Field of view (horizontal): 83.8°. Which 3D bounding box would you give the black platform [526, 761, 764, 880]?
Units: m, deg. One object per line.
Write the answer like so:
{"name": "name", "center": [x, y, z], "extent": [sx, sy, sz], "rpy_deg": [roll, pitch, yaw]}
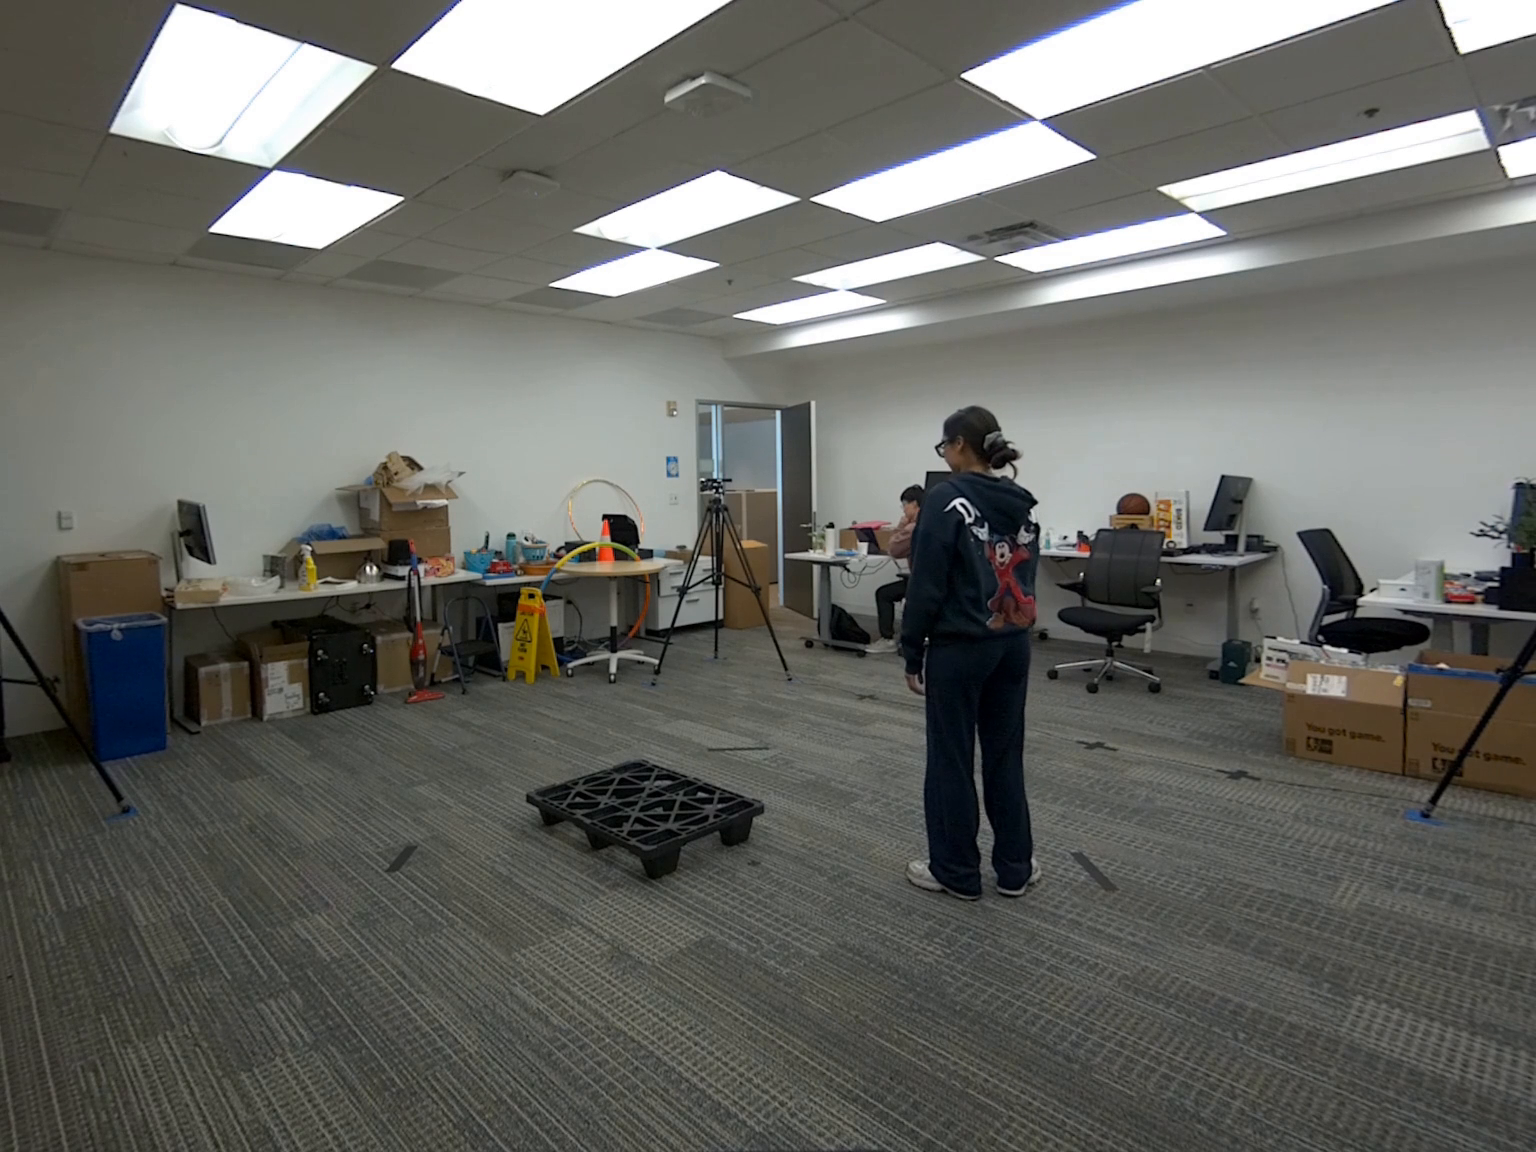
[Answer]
{"name": "black platform", "center": [-0.494, 0.952, 3.404], "extent": [0.830, 0.142, 0.590], "rpy_deg": [5, 9, 45]}
